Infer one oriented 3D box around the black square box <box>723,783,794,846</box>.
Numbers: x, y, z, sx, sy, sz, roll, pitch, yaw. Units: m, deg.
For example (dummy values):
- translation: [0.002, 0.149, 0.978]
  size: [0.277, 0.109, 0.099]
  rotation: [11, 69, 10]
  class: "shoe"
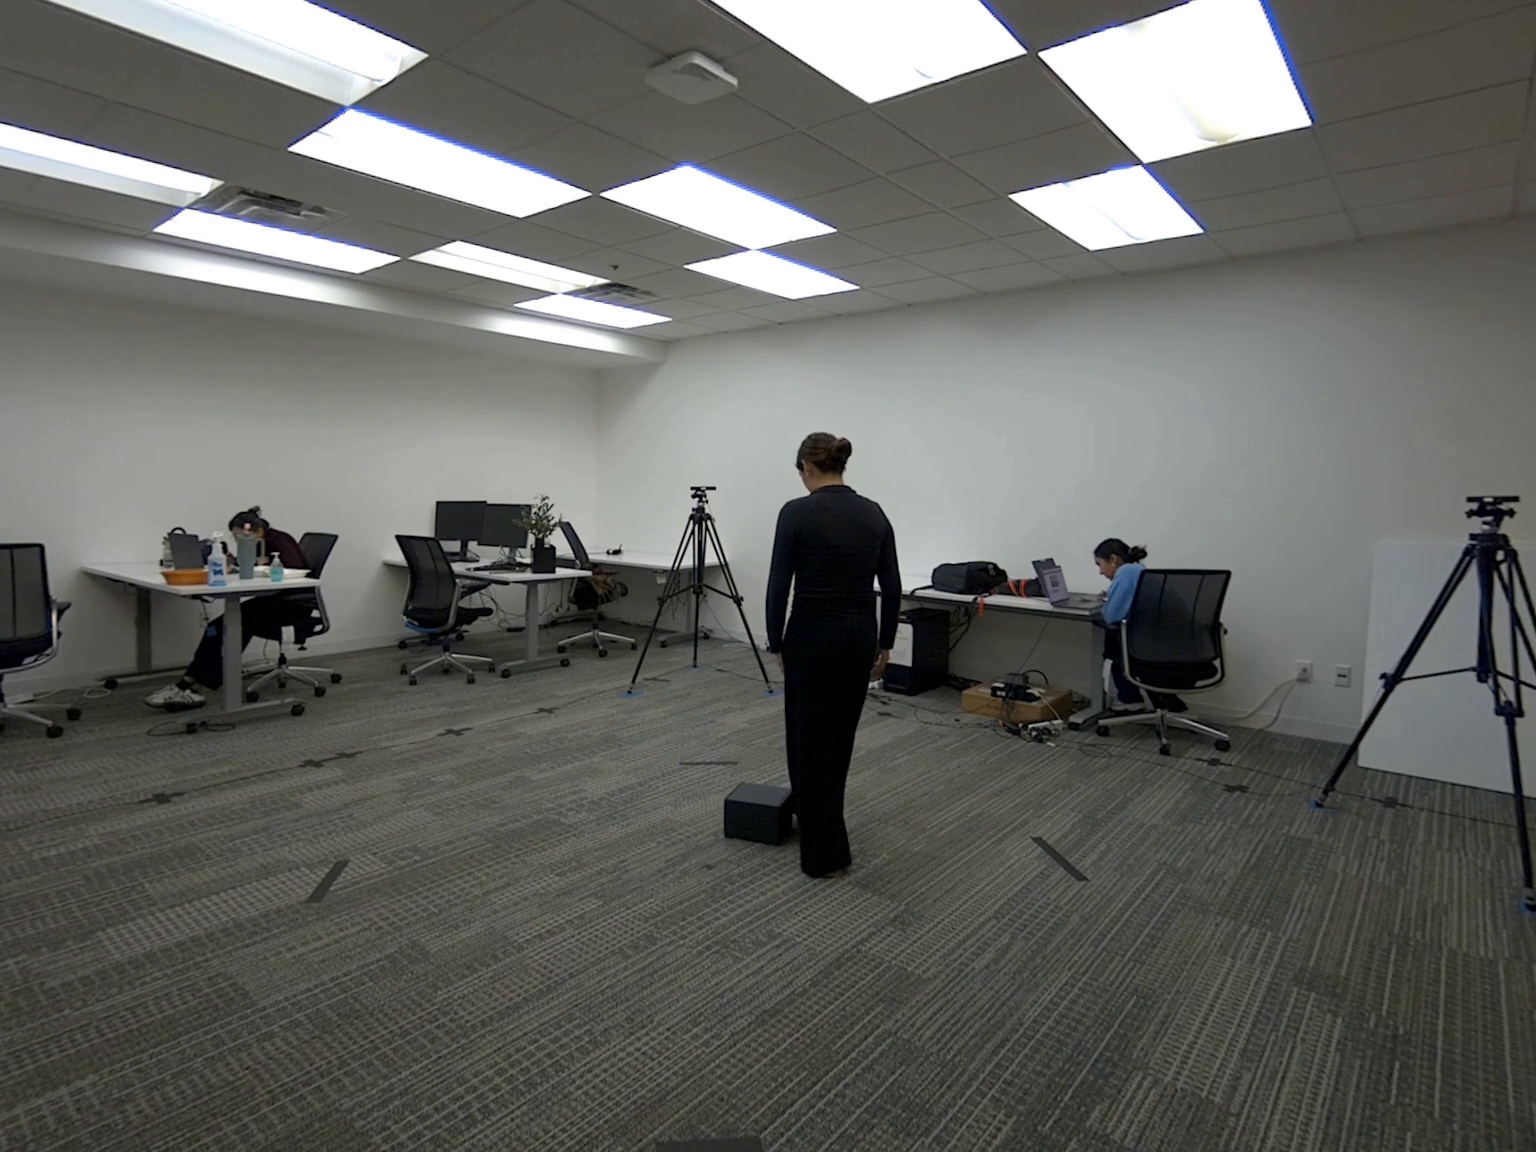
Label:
- translation: [-0.045, 0.951, 3.446]
  size: [0.233, 0.155, 0.213]
  rotation: [2, 5, 19]
  class: "black square box"
